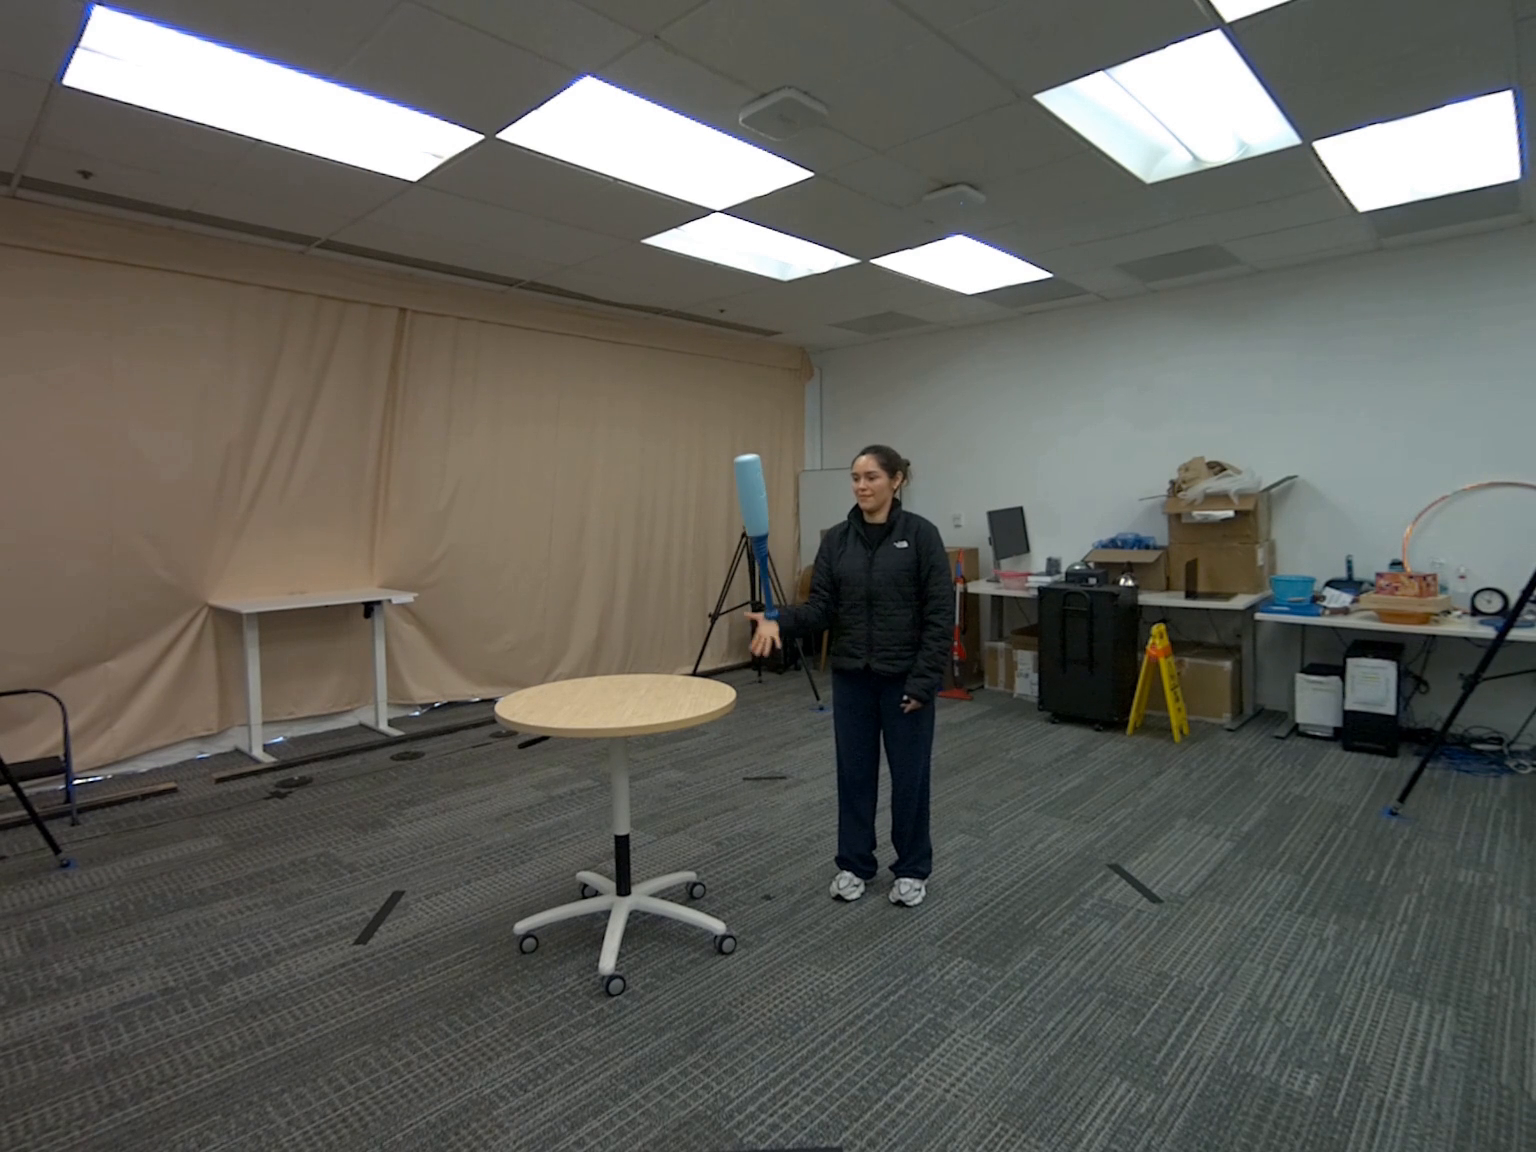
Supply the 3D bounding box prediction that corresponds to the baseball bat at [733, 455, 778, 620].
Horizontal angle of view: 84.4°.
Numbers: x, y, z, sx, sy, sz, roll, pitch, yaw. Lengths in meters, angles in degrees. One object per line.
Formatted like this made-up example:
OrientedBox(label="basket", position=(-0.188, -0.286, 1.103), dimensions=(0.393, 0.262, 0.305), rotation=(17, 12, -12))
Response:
OrientedBox(label="baseball bat", position=(-0.017, -0.073, 2.665), dimensions=(0.089, 0.538, 0.090), rotation=(-8, 12, 0))
